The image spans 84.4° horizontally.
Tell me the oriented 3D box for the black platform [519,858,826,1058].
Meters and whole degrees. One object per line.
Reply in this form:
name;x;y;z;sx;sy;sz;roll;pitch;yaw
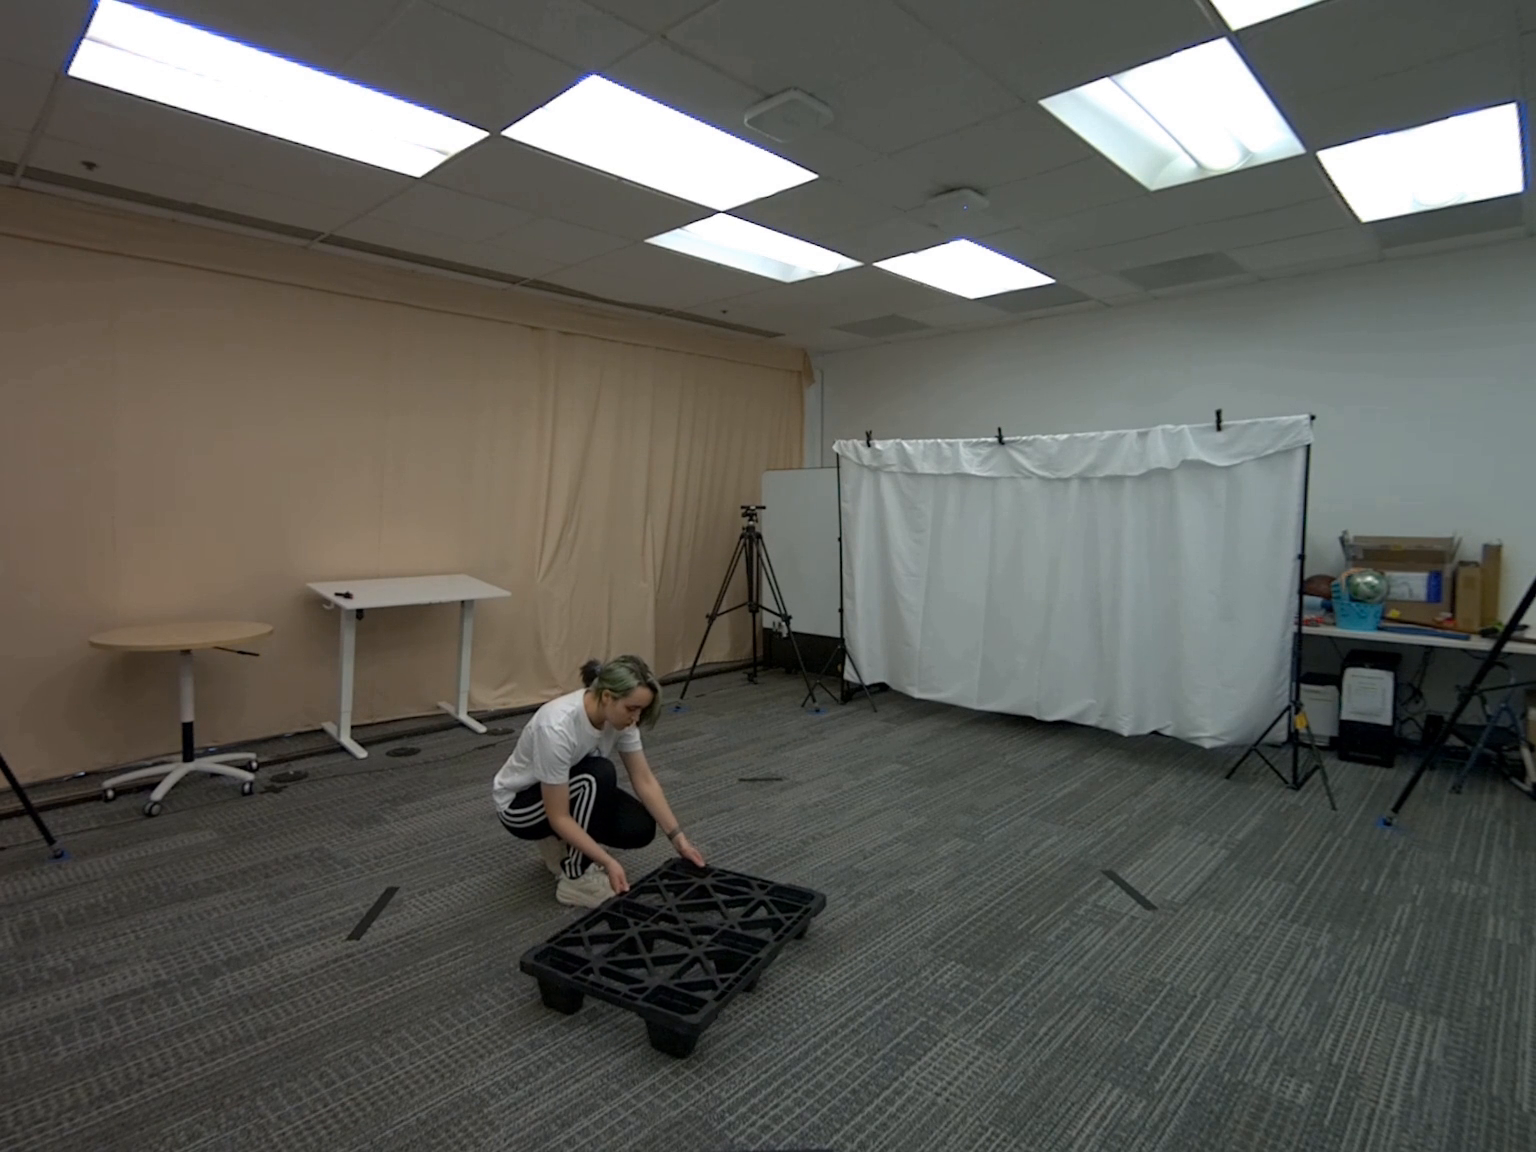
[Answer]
black platform;-0.242;1.116;2.537;0.622;0.143;0.785;3;6;28
